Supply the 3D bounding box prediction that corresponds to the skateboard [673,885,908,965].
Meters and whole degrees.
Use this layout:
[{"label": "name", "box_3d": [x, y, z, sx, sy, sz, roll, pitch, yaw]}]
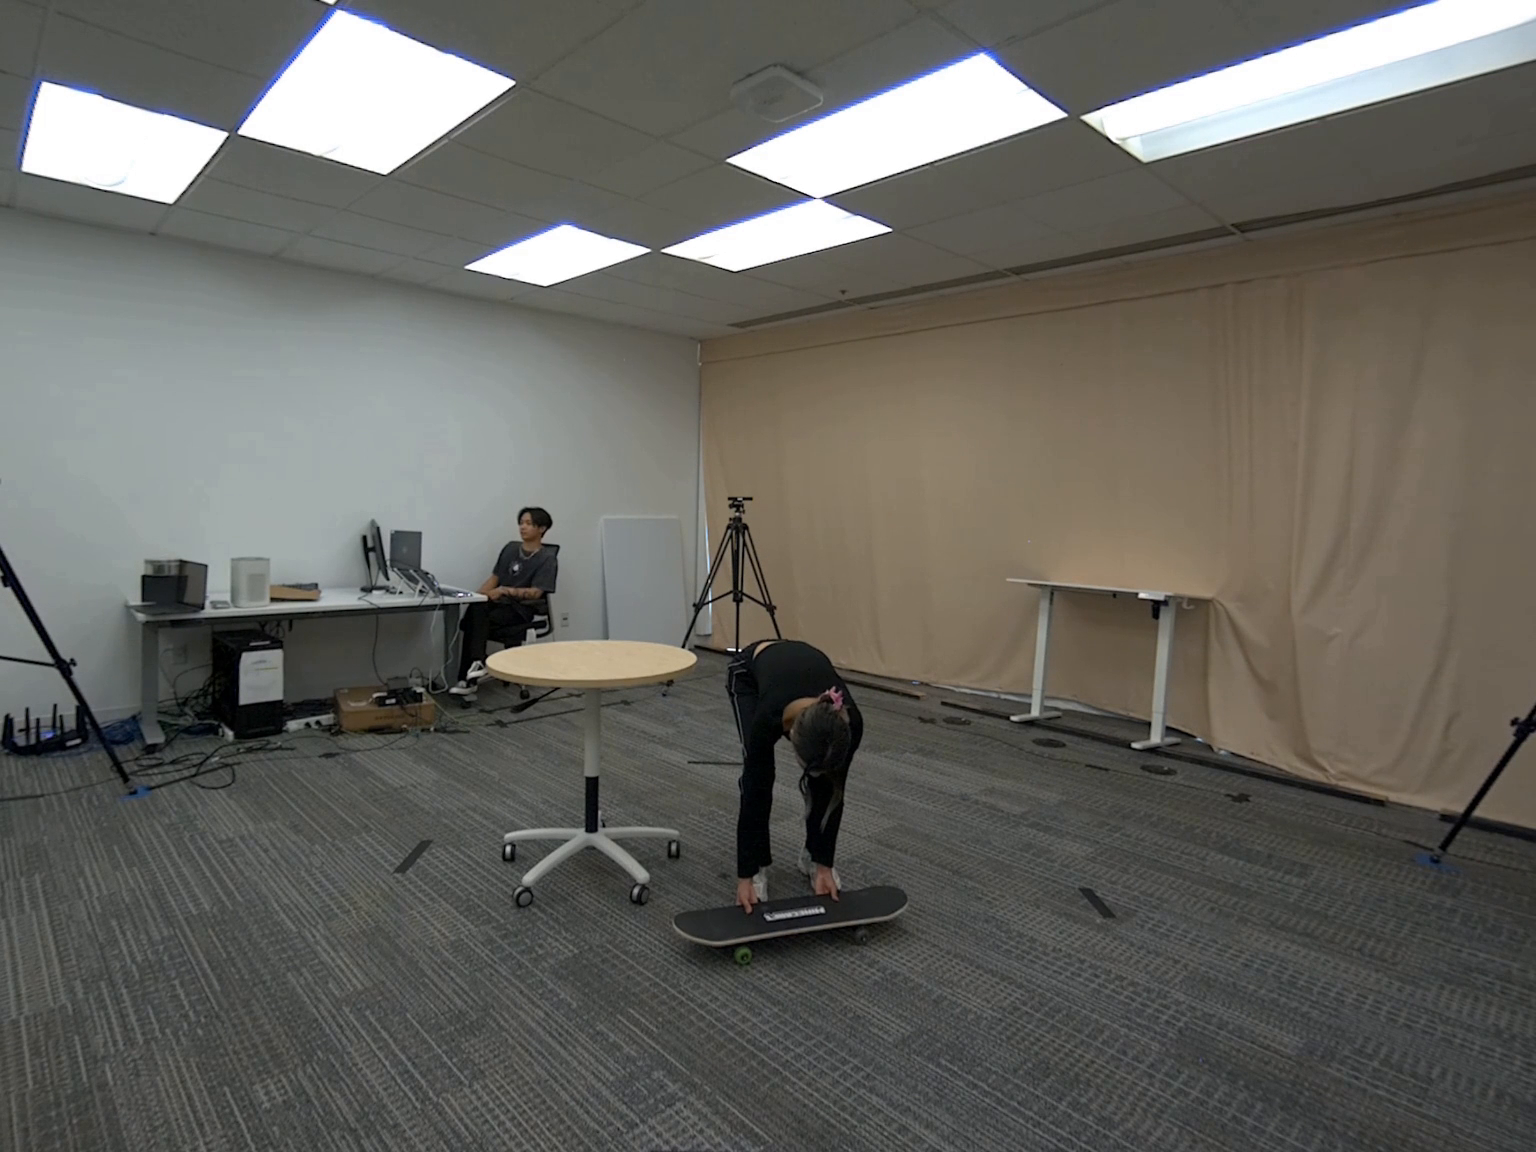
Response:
[{"label": "skateboard", "box_3d": [0.075, 1.088, 2.660, 0.774, 0.110, 0.197, -1, 5, -20]}]
